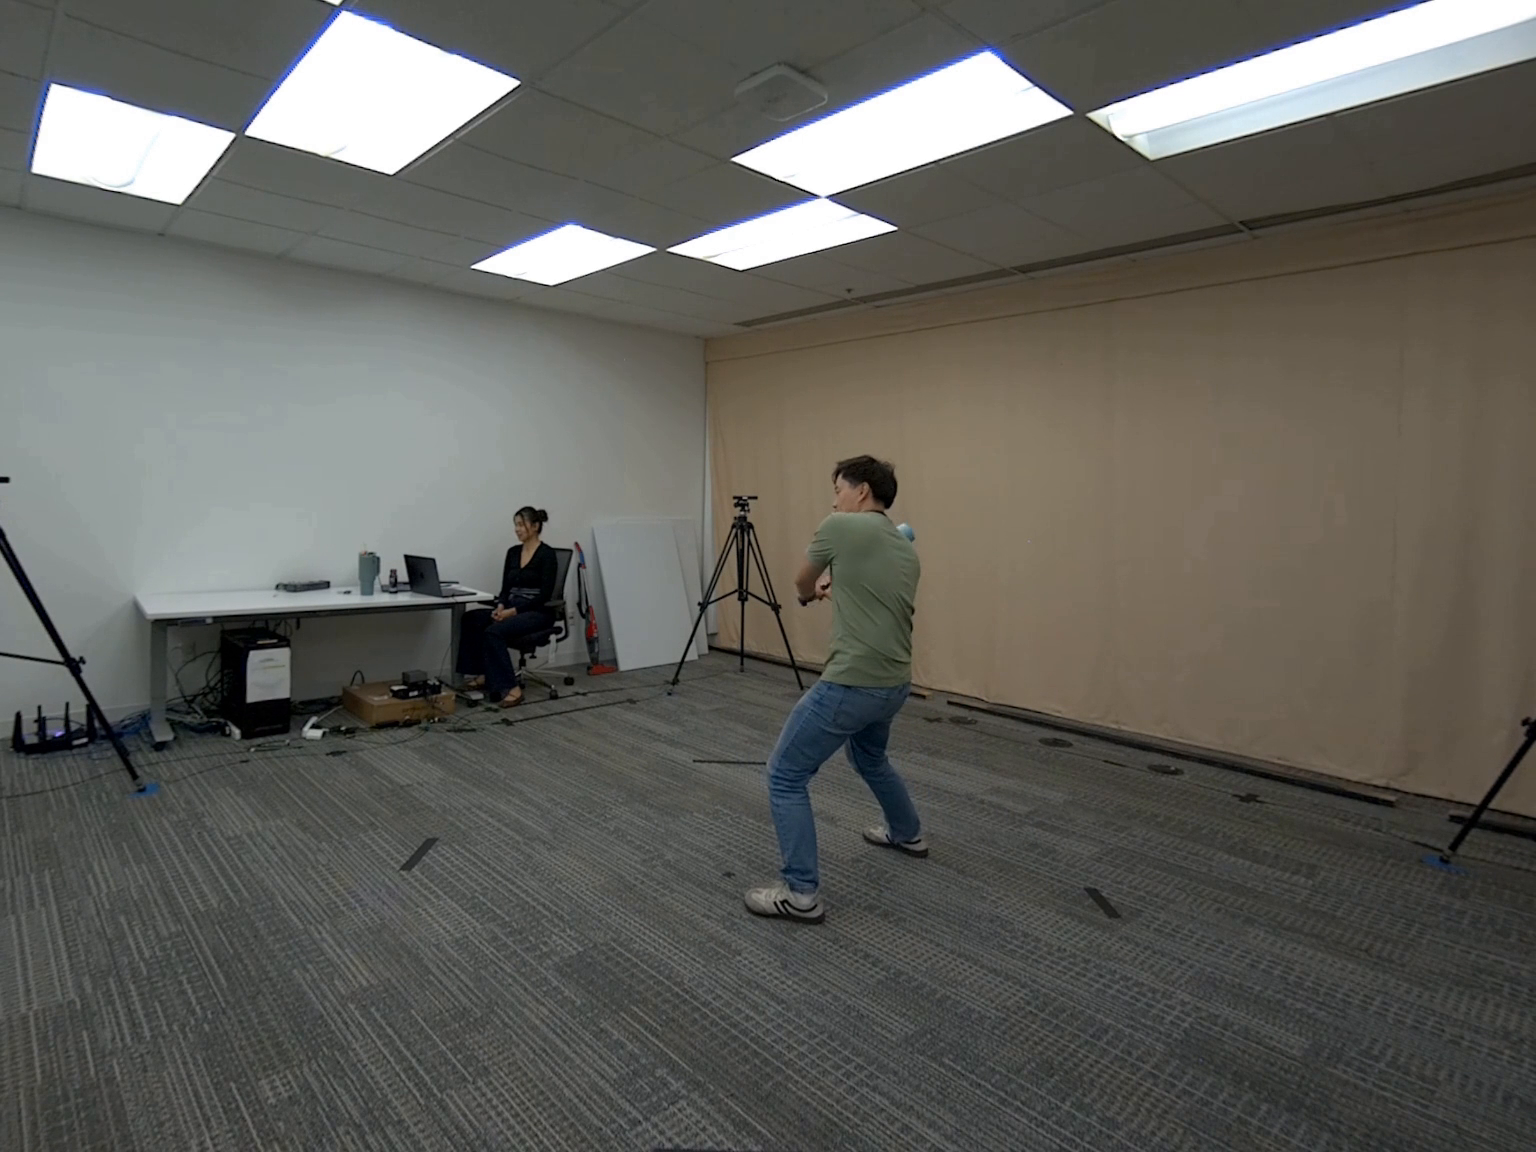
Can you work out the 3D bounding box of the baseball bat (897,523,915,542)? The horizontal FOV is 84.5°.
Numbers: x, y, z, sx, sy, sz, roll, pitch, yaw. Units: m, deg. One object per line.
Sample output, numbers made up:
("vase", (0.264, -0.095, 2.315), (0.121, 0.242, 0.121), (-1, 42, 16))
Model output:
("baseball bat", (0.364, -0.030, 3.410), (0.542, 0.088, 0.090), (-33, 7, -3))
